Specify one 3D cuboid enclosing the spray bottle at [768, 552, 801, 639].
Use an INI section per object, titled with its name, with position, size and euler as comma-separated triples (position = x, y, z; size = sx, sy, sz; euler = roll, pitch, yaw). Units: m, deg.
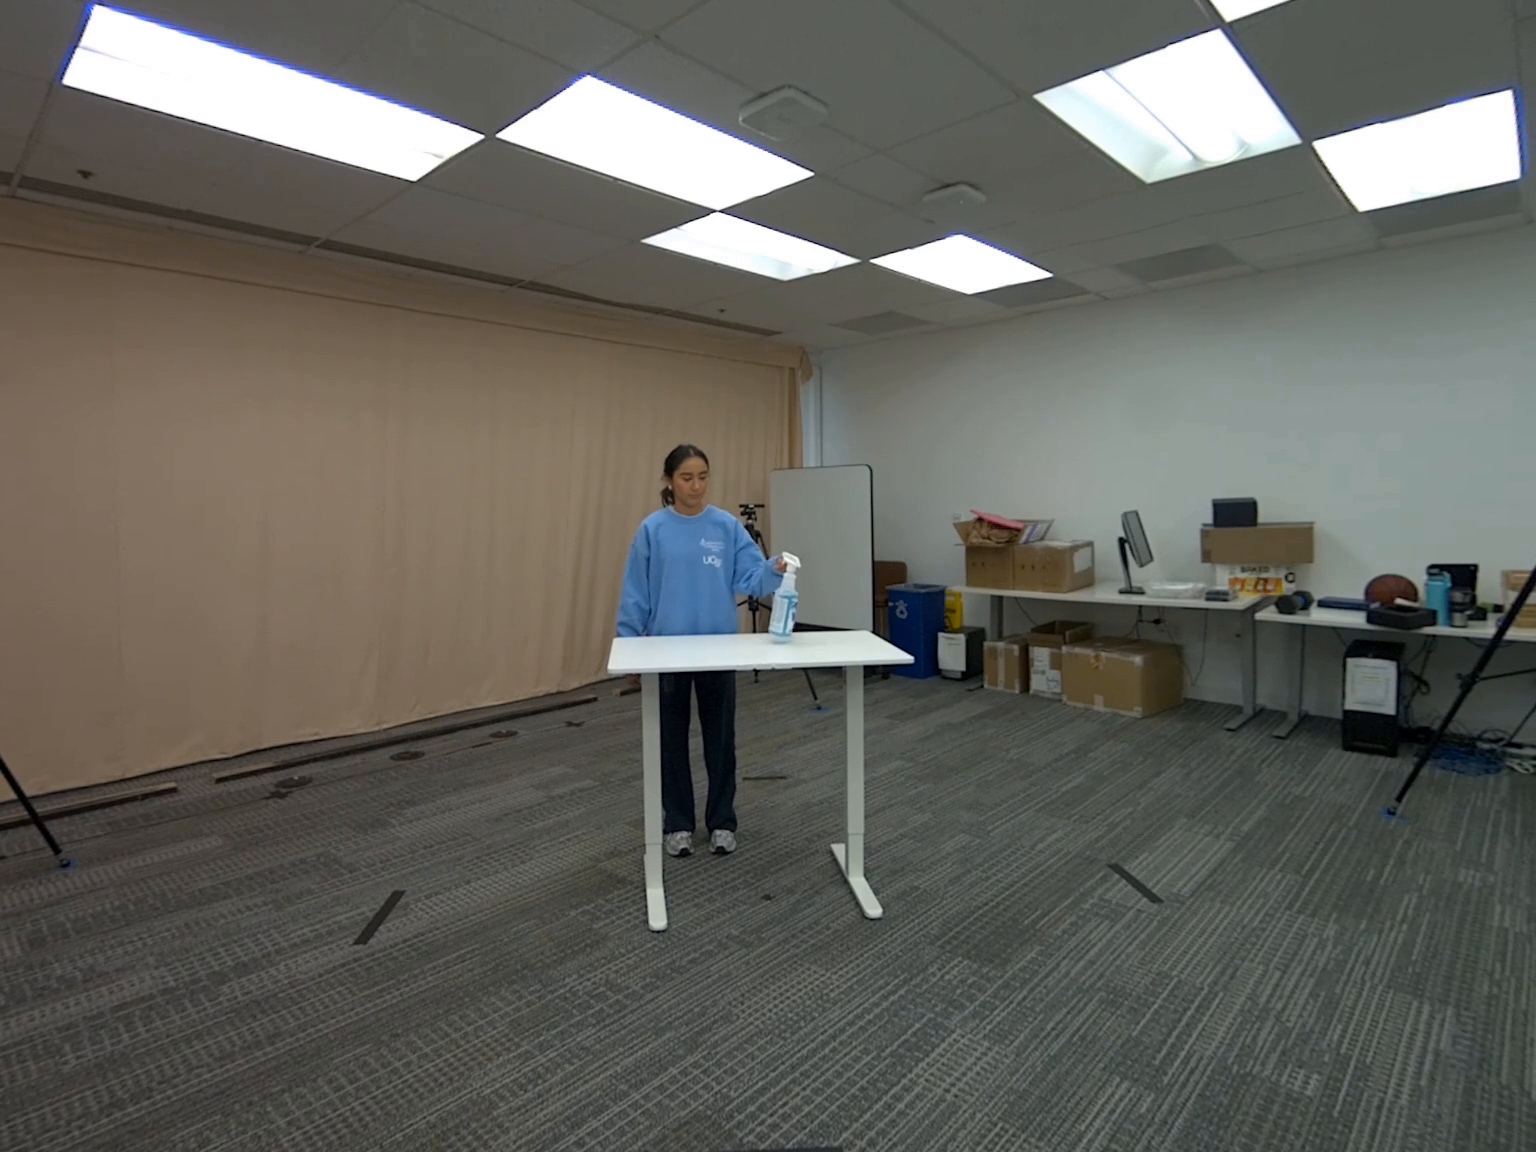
[spray bottle]
position = 0.073, 0.071, 3.075
size = 0.085, 0.296, 0.092
euler = 7, 9, -17
